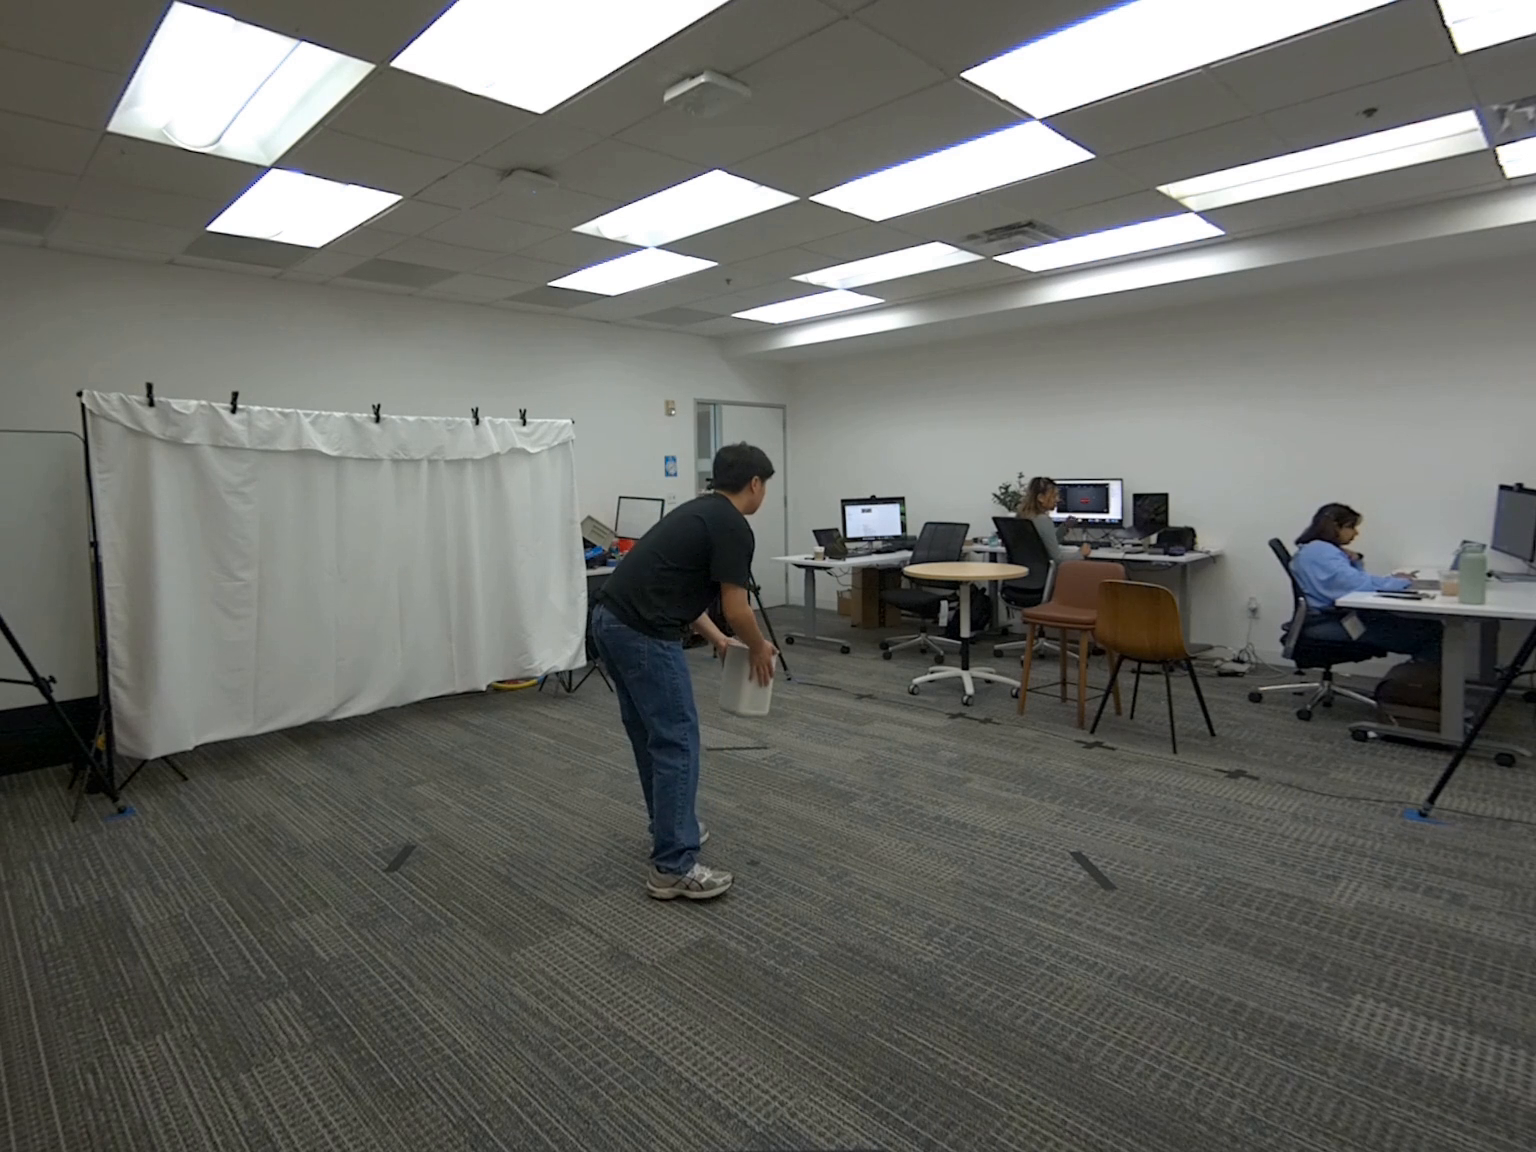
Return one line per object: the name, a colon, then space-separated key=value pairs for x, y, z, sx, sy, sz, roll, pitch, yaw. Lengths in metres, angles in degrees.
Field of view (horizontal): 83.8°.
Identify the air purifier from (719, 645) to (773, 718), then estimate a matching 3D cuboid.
air purifier: x=-0.080 y=0.399 z=3.325 sx=0.166 sy=0.265 sz=0.176 roll=7 pitch=1 yaw=-40
